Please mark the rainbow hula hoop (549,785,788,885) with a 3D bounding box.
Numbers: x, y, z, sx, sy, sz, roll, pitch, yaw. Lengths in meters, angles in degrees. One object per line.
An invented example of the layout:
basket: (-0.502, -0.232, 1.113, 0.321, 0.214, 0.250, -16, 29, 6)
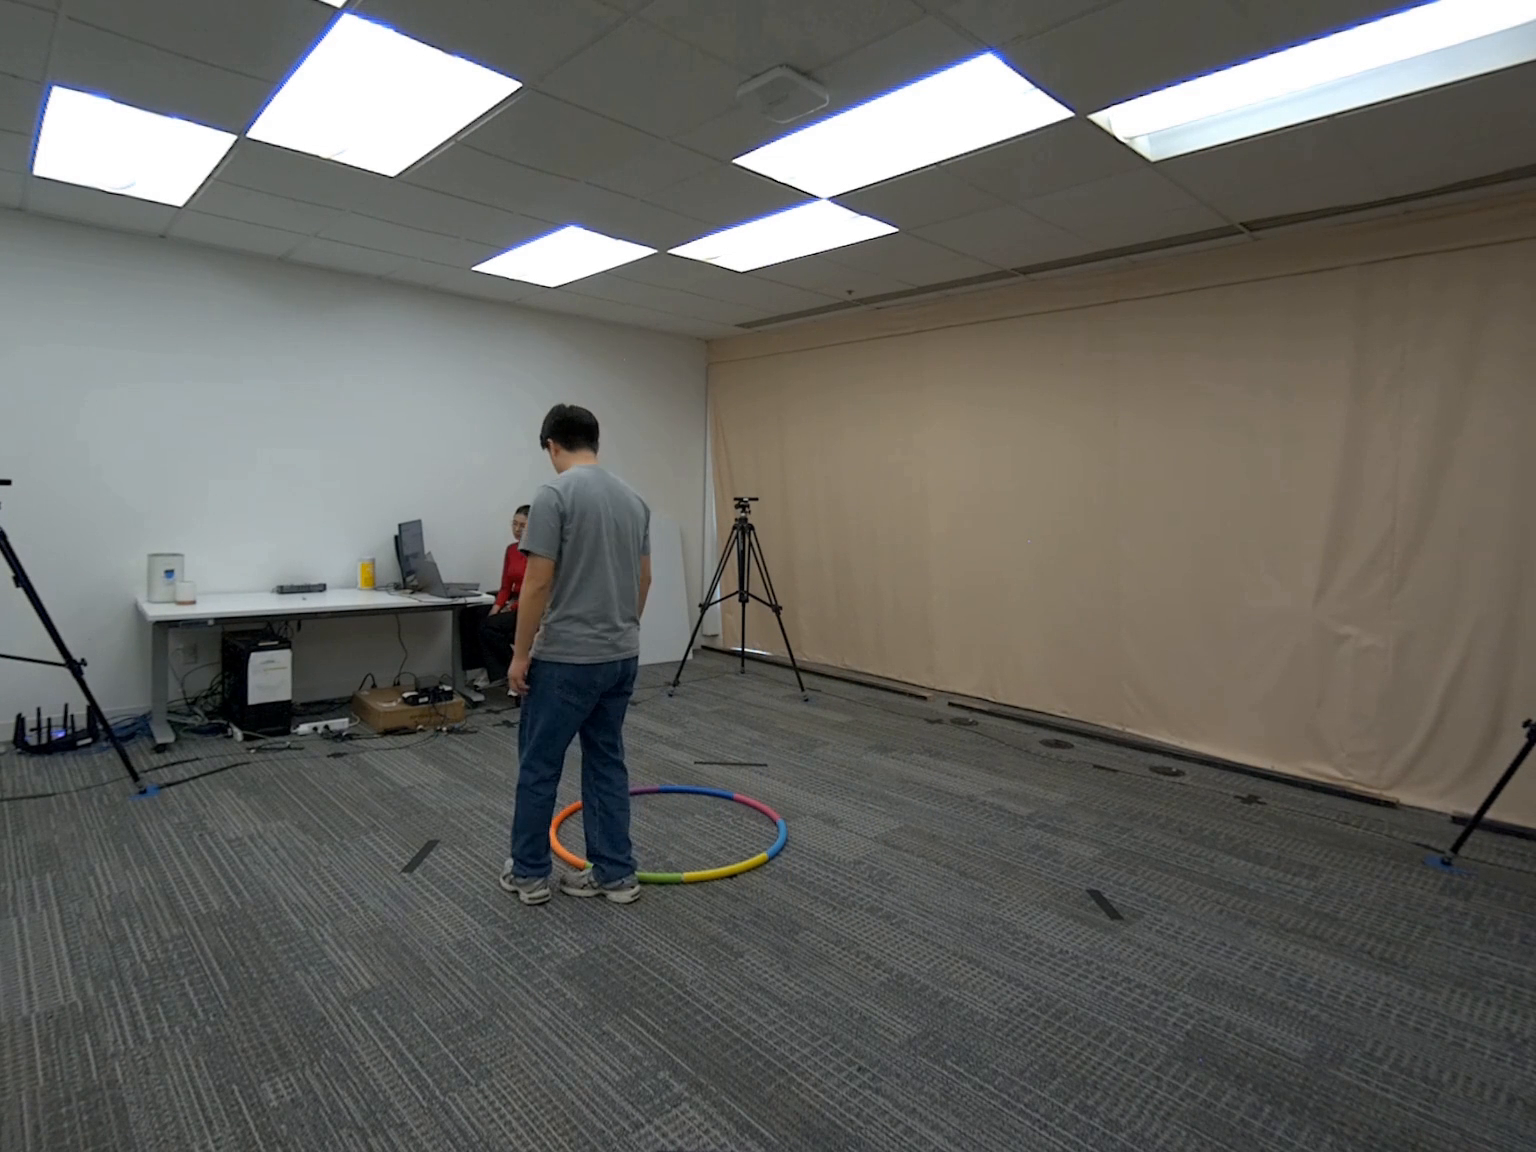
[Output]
rainbow hula hoop: (-0.425, 1.036, 3.508, 0.978, 0.035, 0.982, 2, 5, -1)
